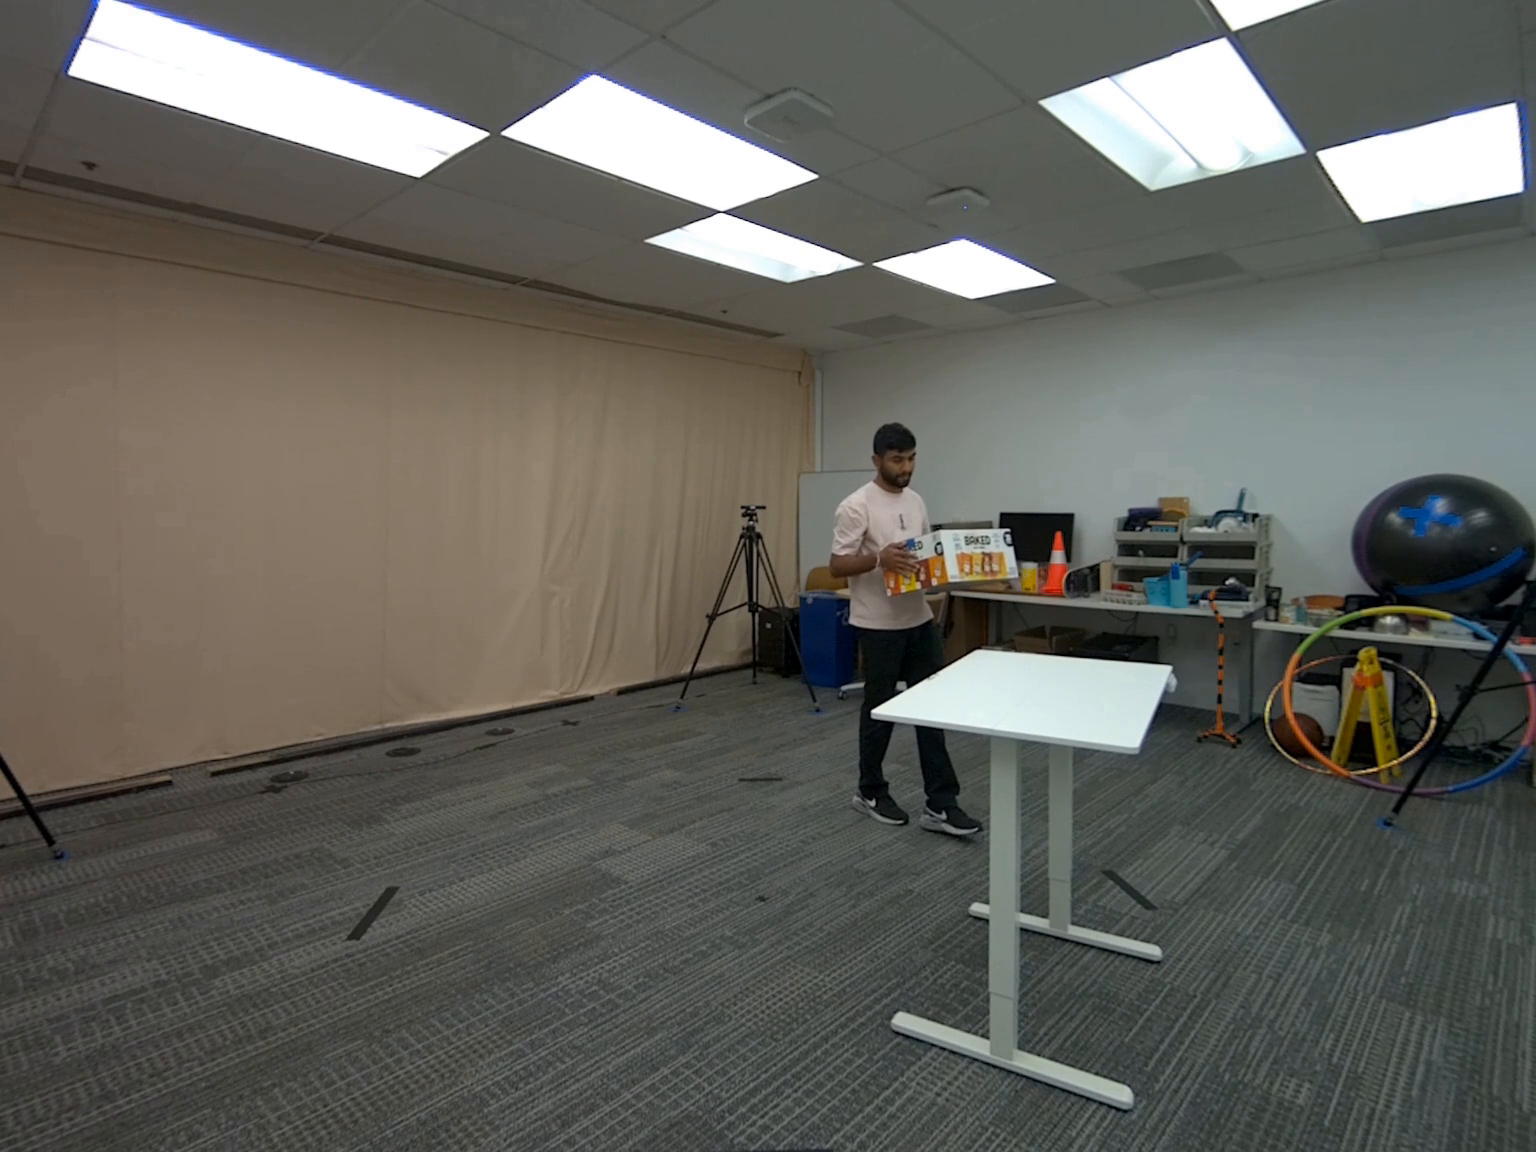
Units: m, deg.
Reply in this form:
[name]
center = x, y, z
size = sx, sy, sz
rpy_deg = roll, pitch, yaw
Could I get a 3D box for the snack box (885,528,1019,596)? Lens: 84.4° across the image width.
[snack box]
center = 0.729, -0.052, 3.412
size = 0.393, 0.207, 0.348
rpy_deg = -2, -9, -34
